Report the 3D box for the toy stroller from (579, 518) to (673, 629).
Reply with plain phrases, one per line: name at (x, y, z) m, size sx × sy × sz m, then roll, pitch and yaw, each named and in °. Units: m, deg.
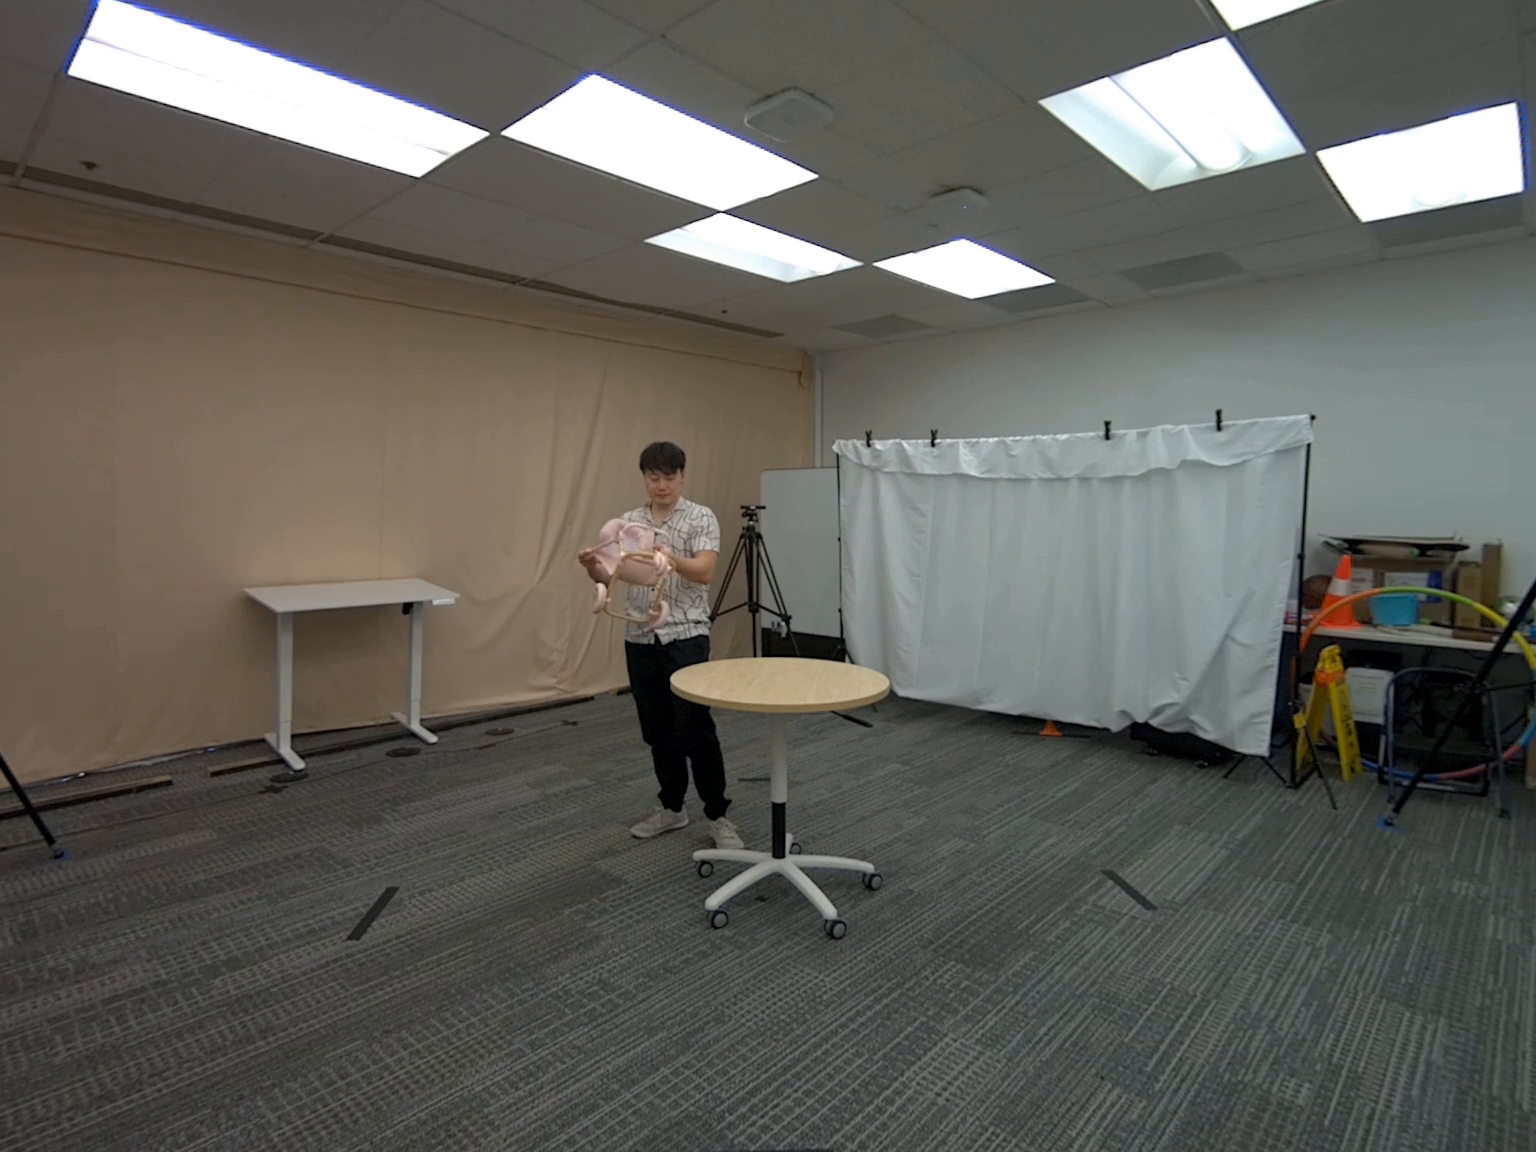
toy stroller at (-0.496, -0.049, 3.128) m, size 0.274 × 0.340 × 0.551 m, roll 14°, pitch 25°, yaw -26°
